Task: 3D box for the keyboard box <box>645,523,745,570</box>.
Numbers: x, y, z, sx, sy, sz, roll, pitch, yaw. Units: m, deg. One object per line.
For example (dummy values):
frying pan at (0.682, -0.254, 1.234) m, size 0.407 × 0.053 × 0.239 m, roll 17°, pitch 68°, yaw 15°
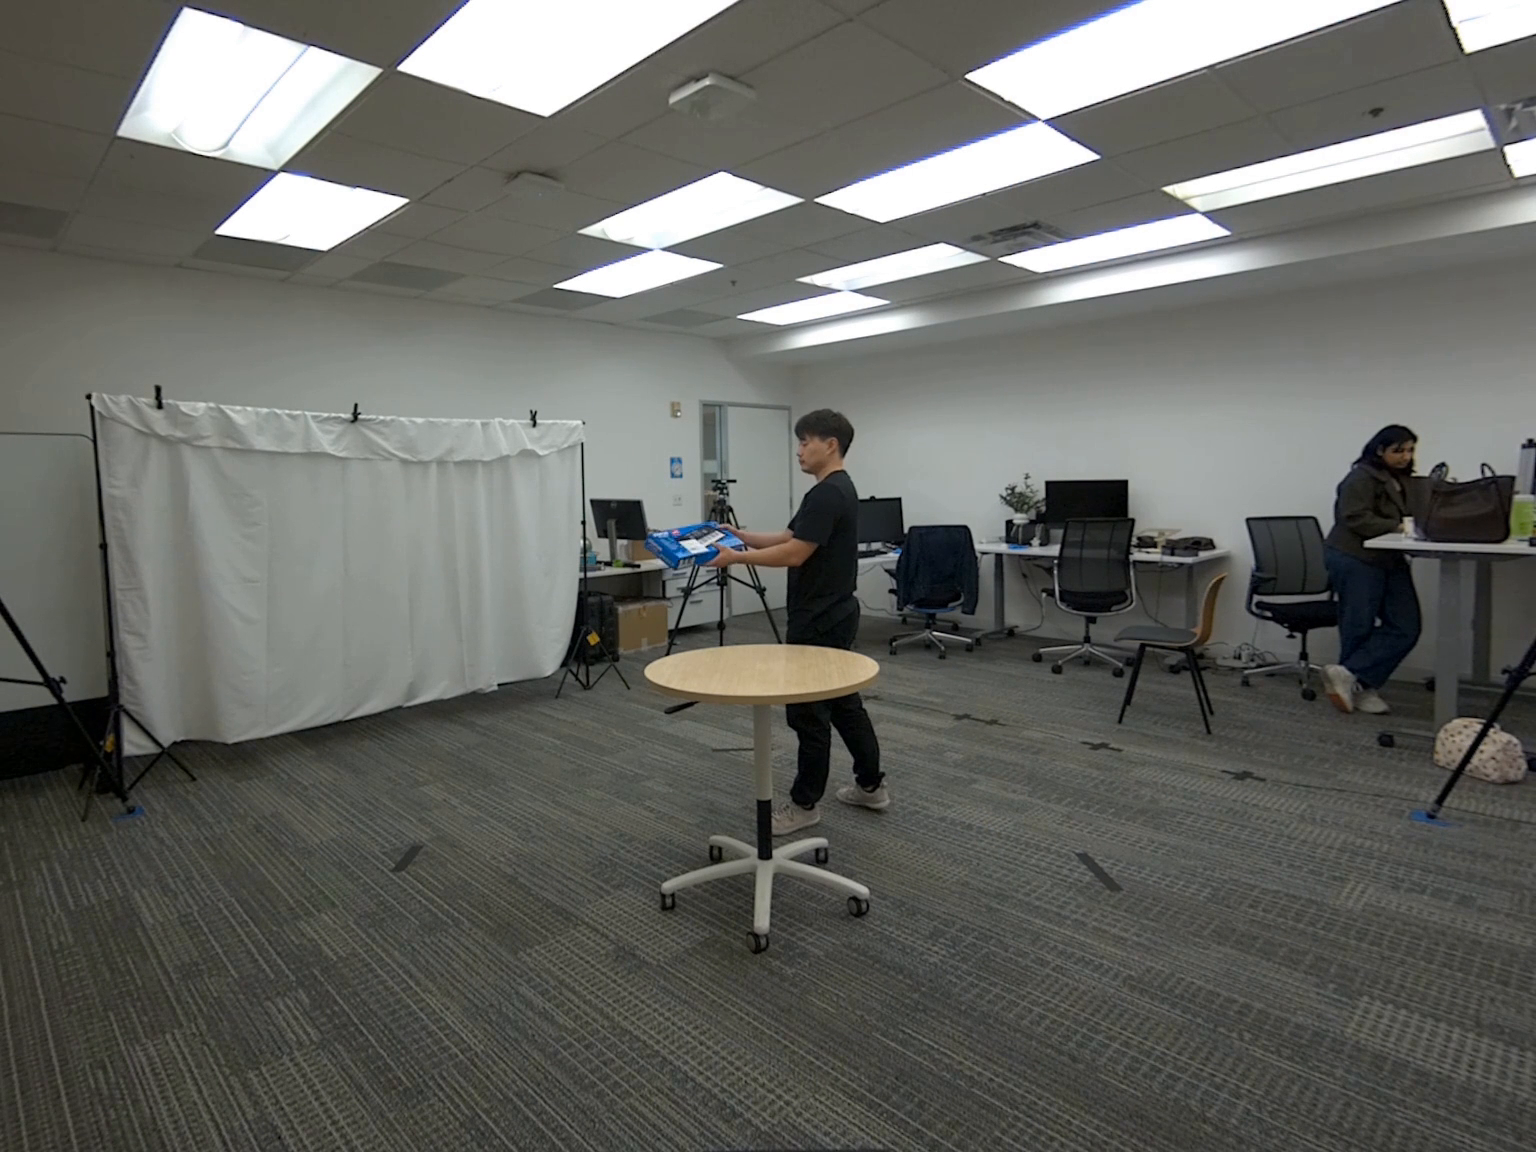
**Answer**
keyboard box at (-0.285, -0.123, 3.382) m, size 0.181 × 0.058 × 0.428 m, roll 36°, pitch 27°, yaw 24°
